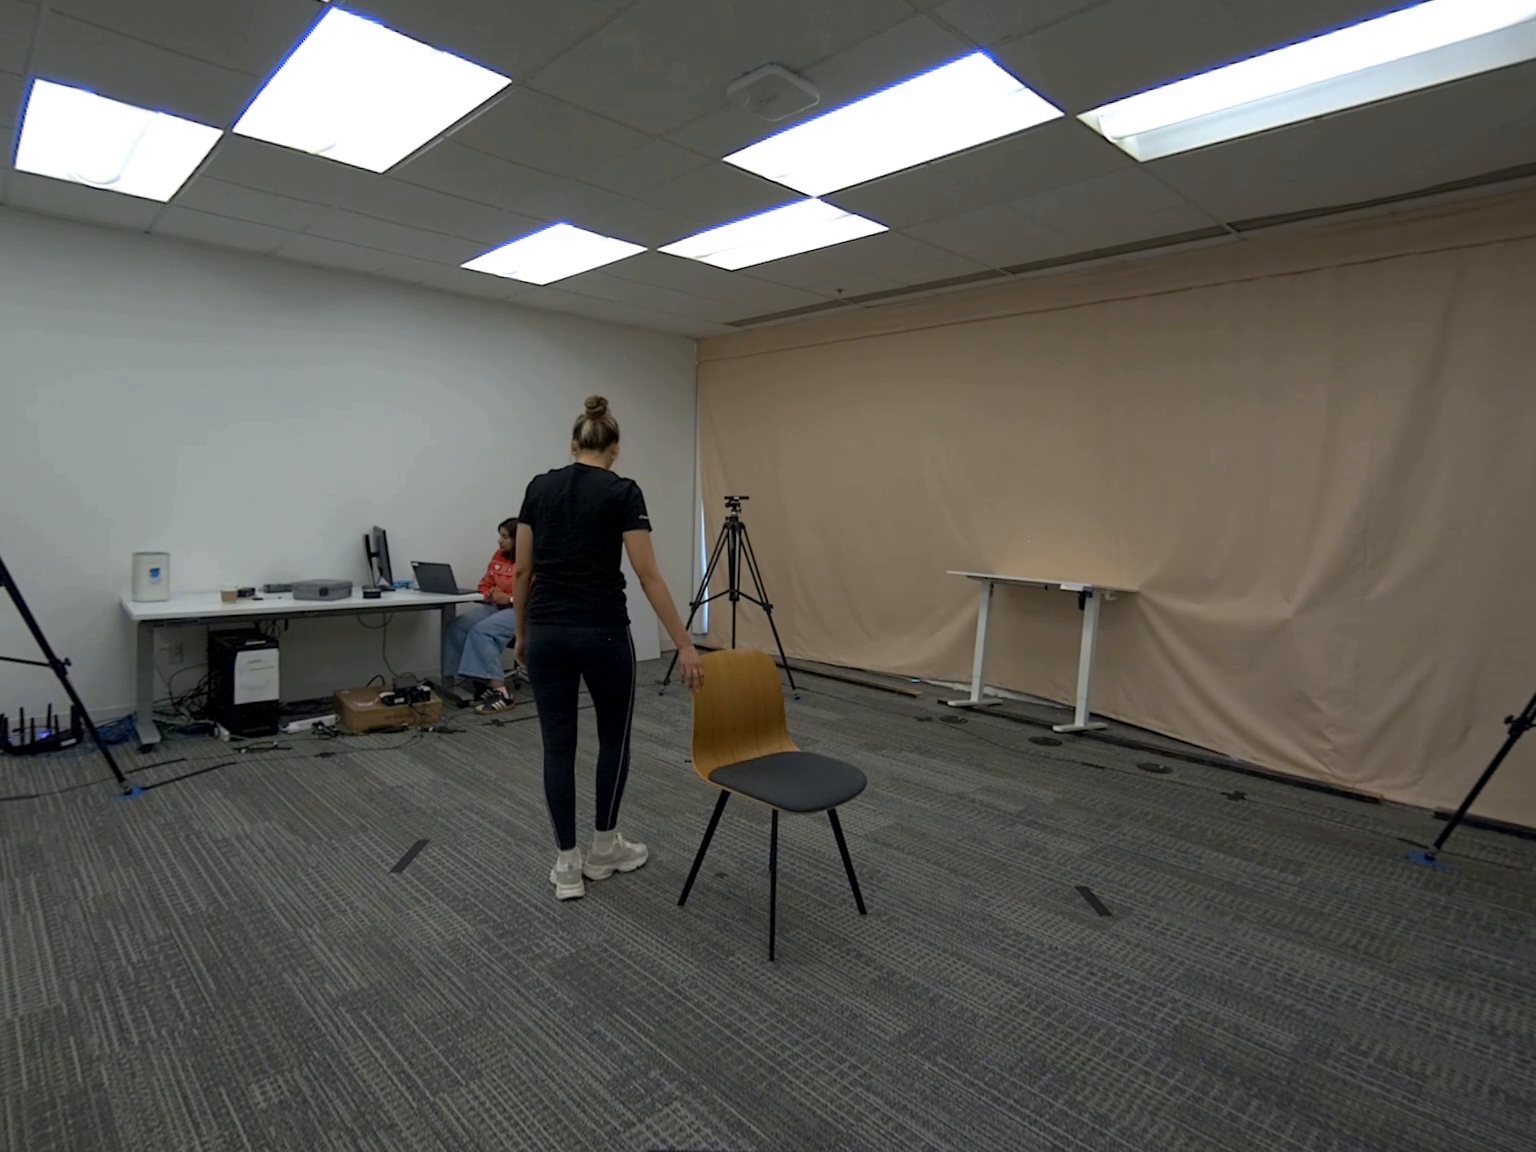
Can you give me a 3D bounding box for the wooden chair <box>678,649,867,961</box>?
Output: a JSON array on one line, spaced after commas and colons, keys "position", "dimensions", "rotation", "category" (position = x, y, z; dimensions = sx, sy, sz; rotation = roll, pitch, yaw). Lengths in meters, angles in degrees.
[{"position": [0.024, 0.707, 2.810], "dimensions": [0.467, 0.878, 0.535], "rotation": [-1, 0, -43], "category": "wooden chair"}]
